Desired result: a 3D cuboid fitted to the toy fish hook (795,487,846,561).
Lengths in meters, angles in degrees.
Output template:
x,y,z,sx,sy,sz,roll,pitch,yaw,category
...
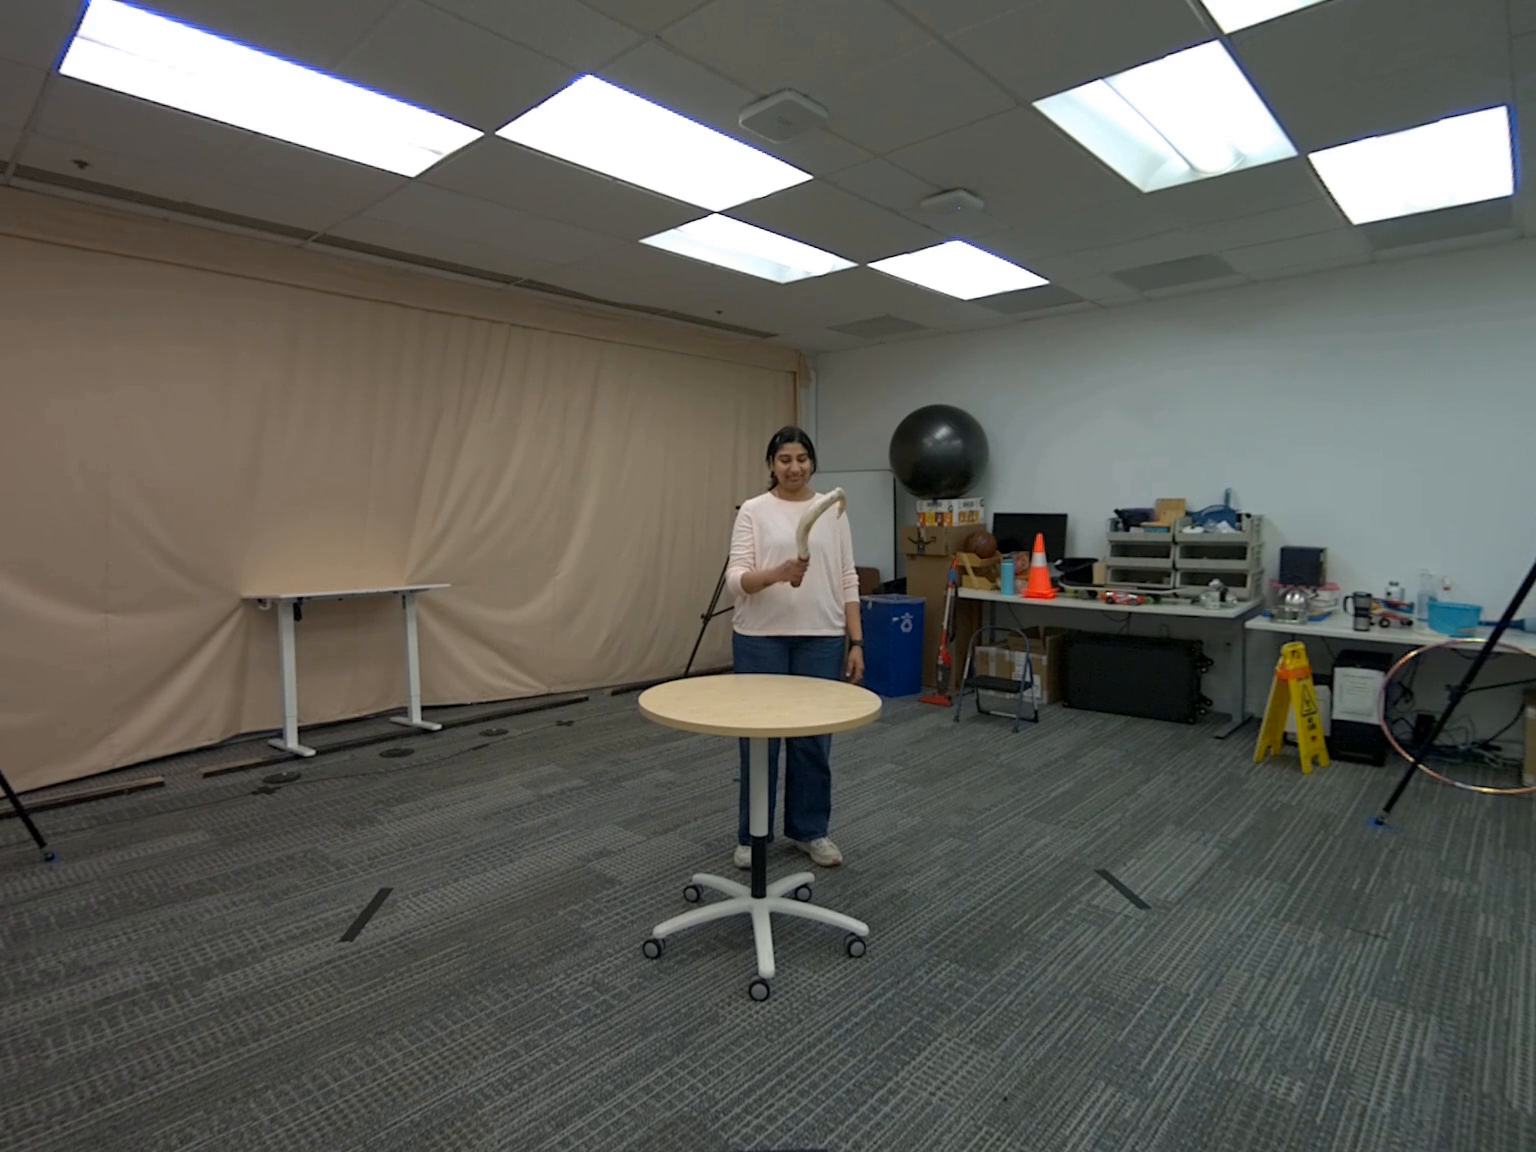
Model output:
x,y,z,sx,sy,sz,roll,pitch,yaw,category
0.154,-0.115,2.885,0.222,0.049,0.500,-29,-24,-22,toy fish hook
